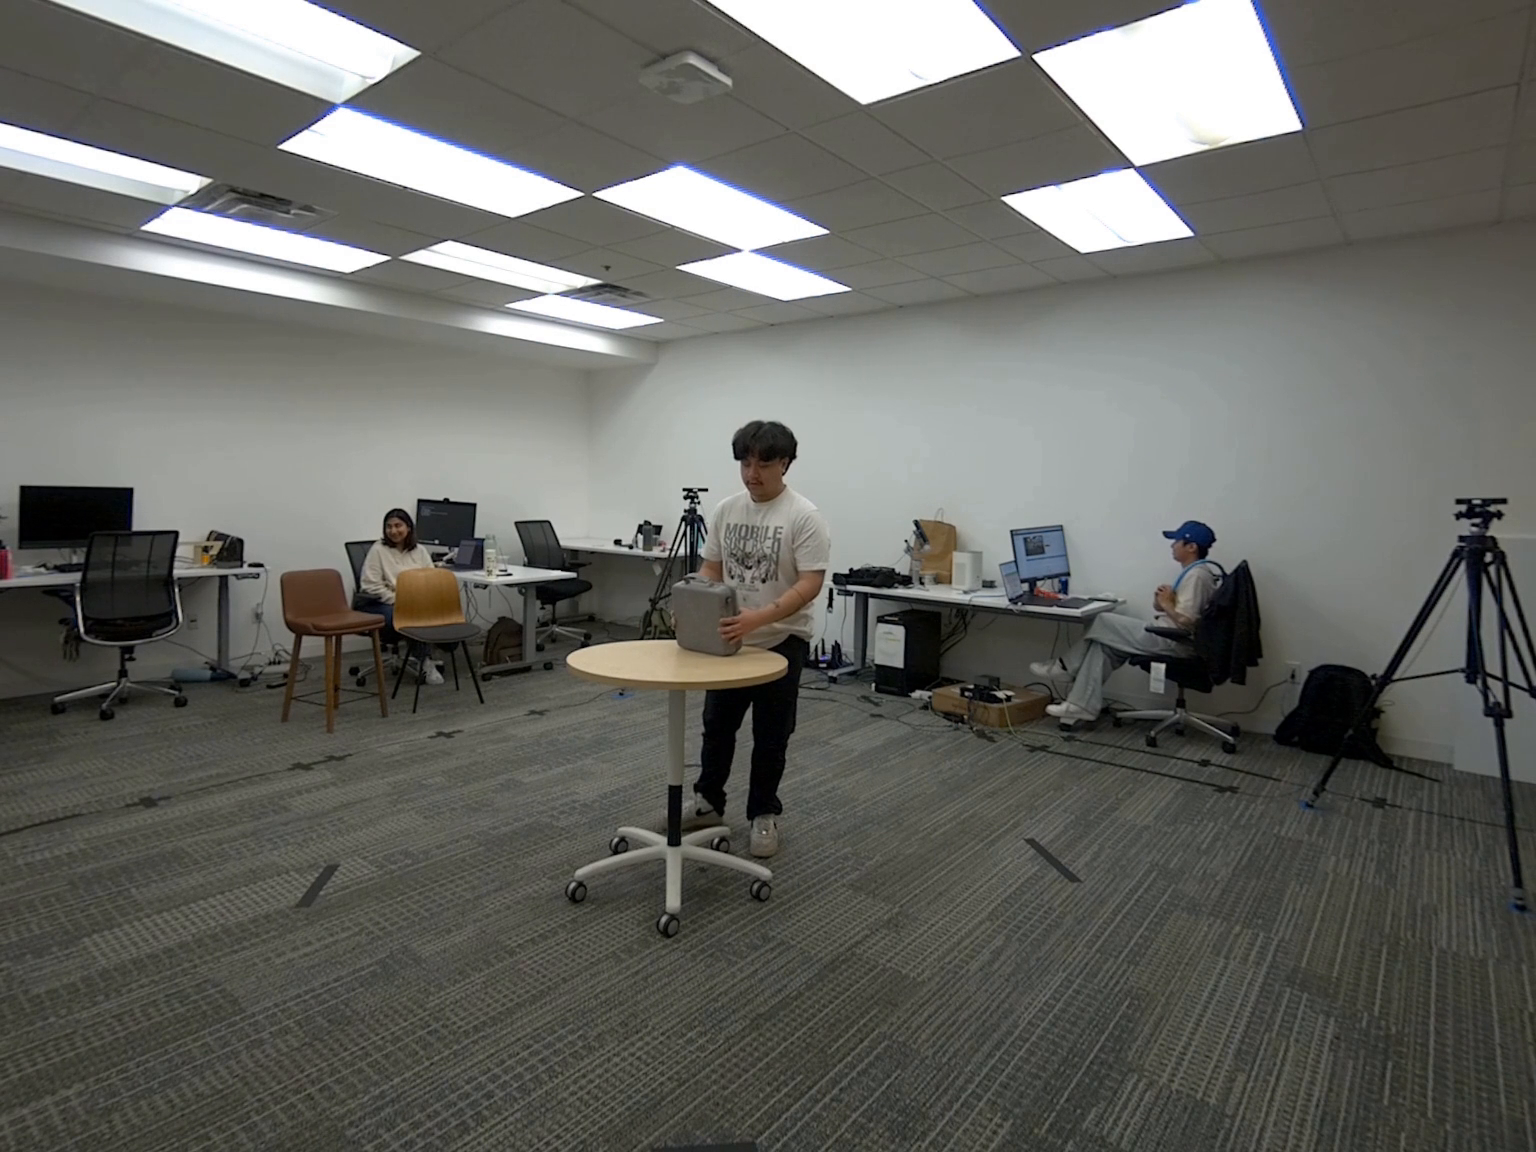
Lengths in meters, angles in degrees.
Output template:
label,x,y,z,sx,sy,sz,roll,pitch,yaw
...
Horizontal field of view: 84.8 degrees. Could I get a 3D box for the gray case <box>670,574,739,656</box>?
label,x,y,z,sx,sy,sz,roll,pitch,yaw
gray case,-0.234,0.140,3.088,0.266,0.257,0.102,5,16,44
